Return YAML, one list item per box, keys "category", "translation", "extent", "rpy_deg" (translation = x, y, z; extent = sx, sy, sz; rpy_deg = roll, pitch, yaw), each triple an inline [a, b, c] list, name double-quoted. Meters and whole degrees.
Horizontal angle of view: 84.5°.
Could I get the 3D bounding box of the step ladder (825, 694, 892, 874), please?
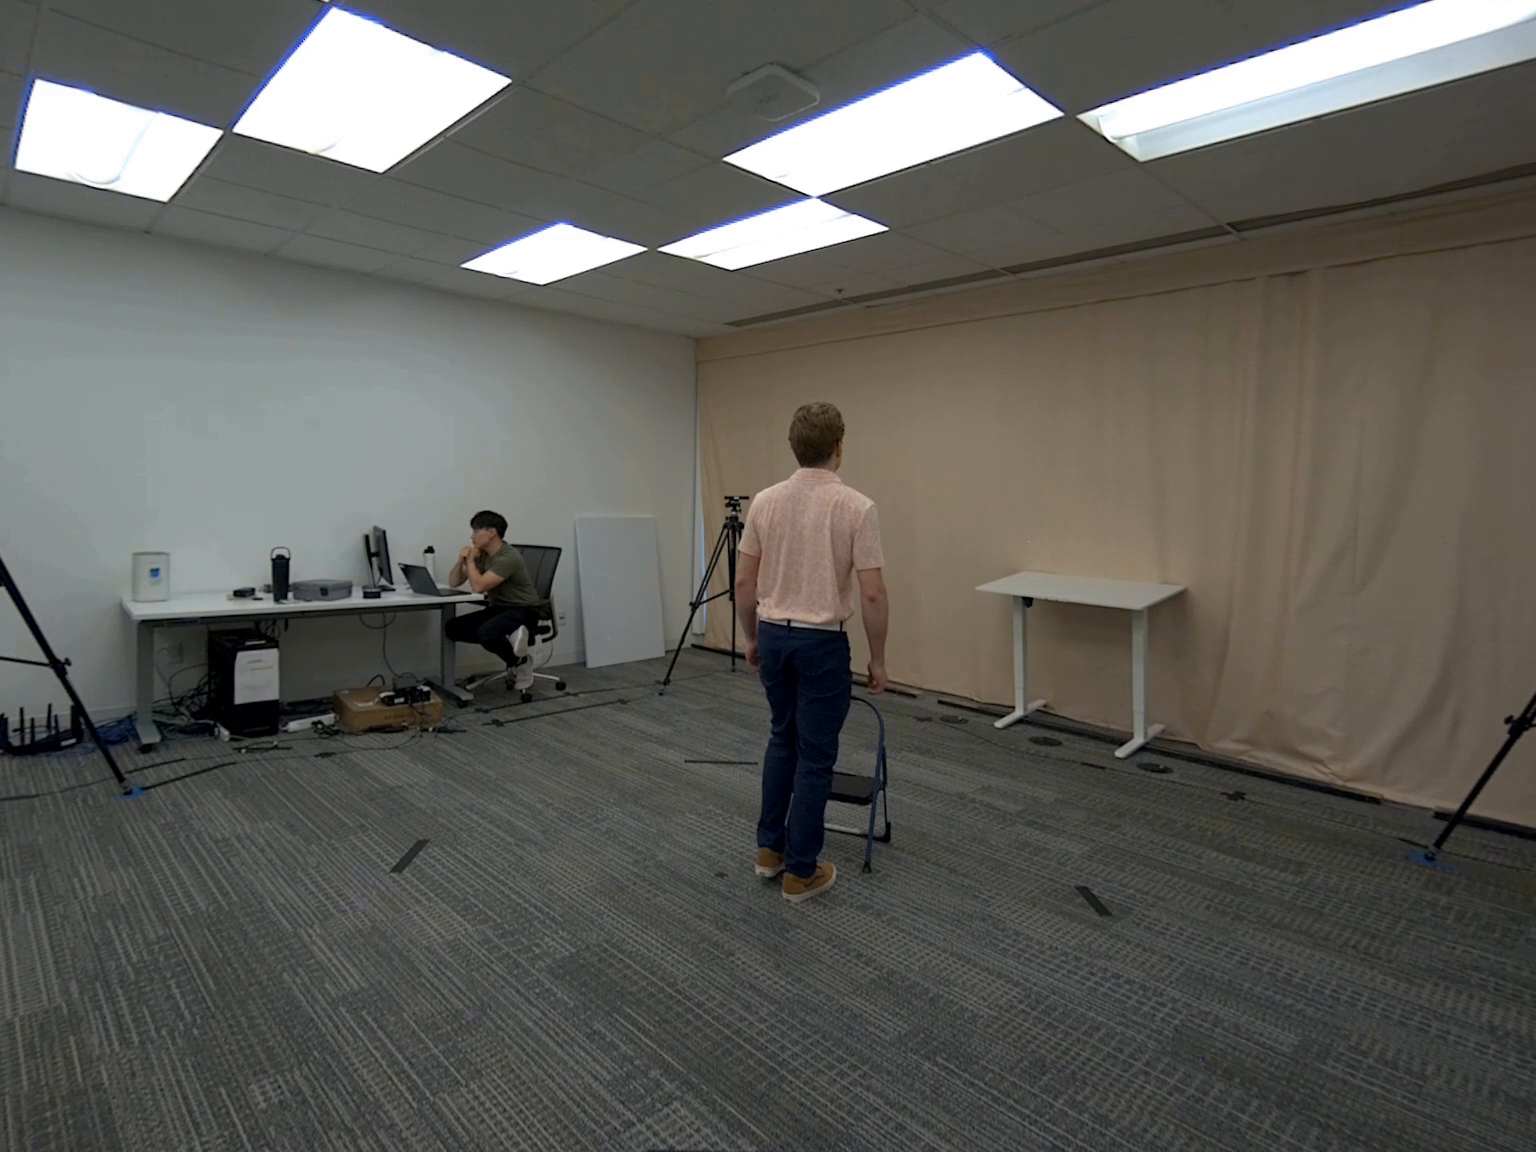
- category: "step ladder"
  translation: [0.254, 0.786, 3.381]
  extent: [0.439, 0.605, 0.343]
  rpy_deg: [3, 3, 24]
